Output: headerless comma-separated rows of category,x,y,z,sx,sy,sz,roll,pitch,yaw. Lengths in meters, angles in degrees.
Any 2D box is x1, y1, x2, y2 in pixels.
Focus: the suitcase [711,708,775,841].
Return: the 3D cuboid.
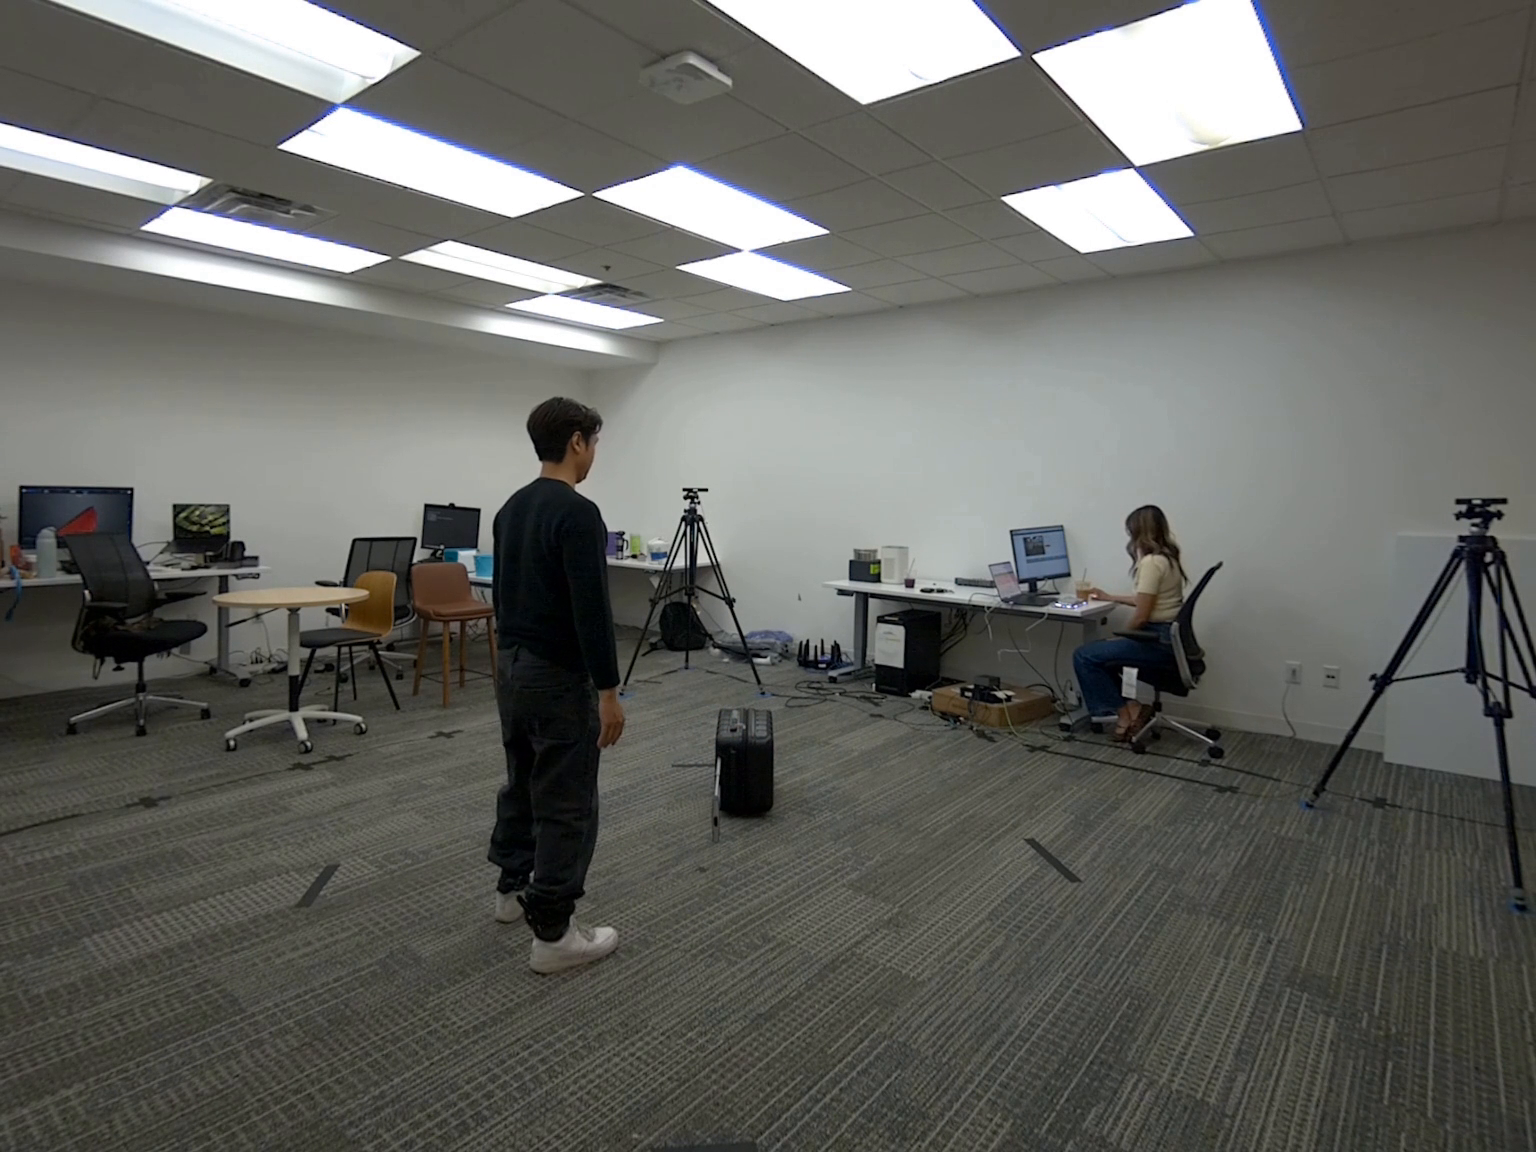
suitcase,-0.106,0.832,3.616,0.257,0.382,0.983,0,6,-2
